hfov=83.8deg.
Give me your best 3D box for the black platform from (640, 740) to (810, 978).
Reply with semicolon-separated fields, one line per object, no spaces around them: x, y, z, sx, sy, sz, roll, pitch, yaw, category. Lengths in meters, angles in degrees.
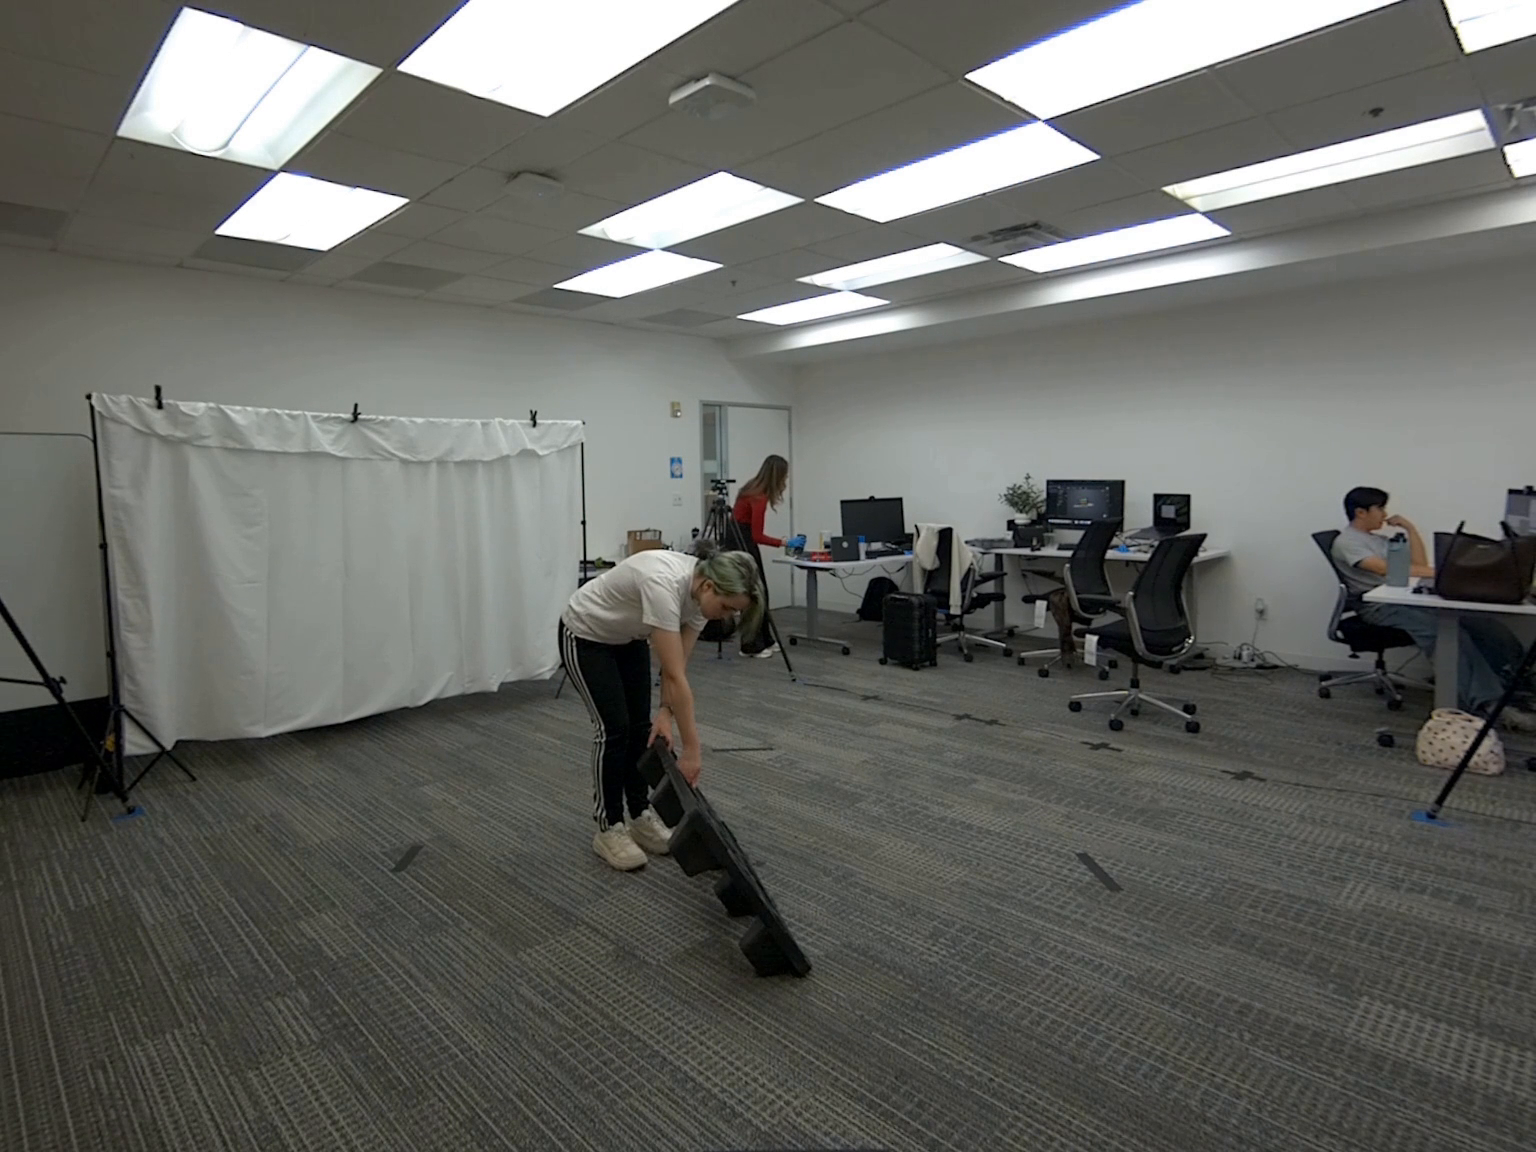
-0.186;0.856;2.718;0.143;0.597;0.819;-35;12;-10;black platform
